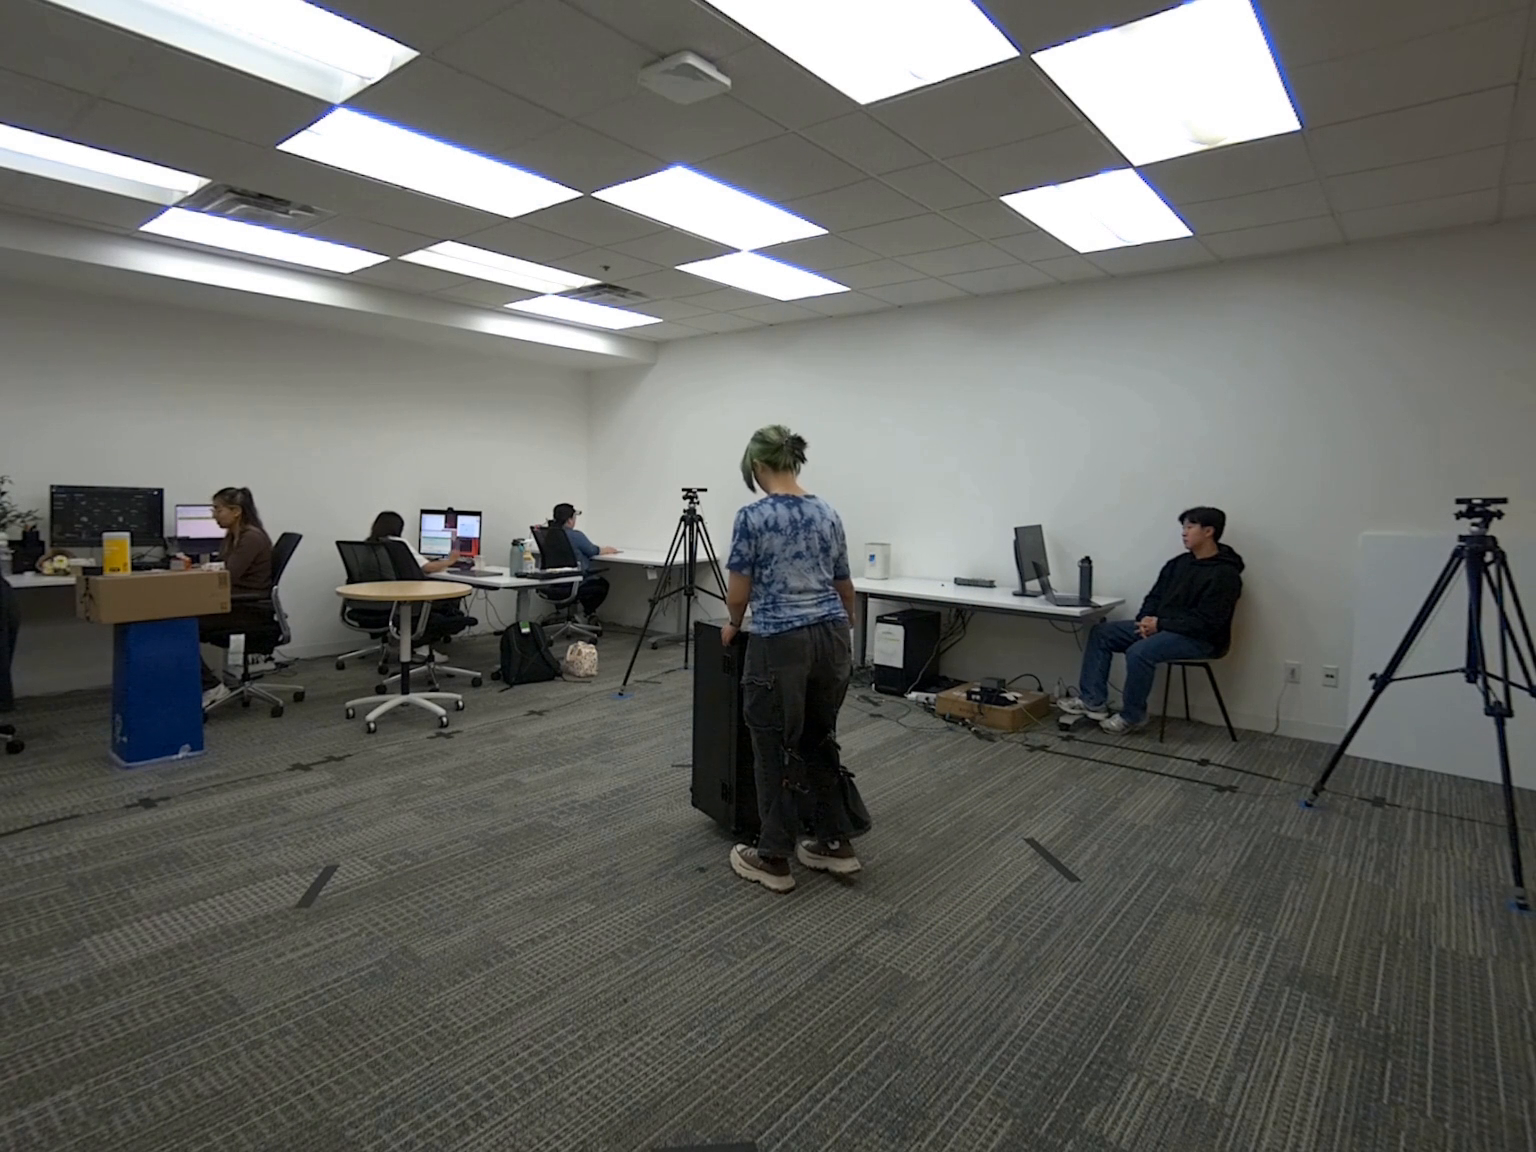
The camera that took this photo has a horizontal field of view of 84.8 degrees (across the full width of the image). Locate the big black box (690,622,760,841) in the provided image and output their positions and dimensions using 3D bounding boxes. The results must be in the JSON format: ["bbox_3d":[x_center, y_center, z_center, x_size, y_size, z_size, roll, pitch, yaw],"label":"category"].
[{"bbox_3d":[-0.040,0.613,3.513,0.507,0.860,0.408,-1,2,-32],"label":"big black box"}]
